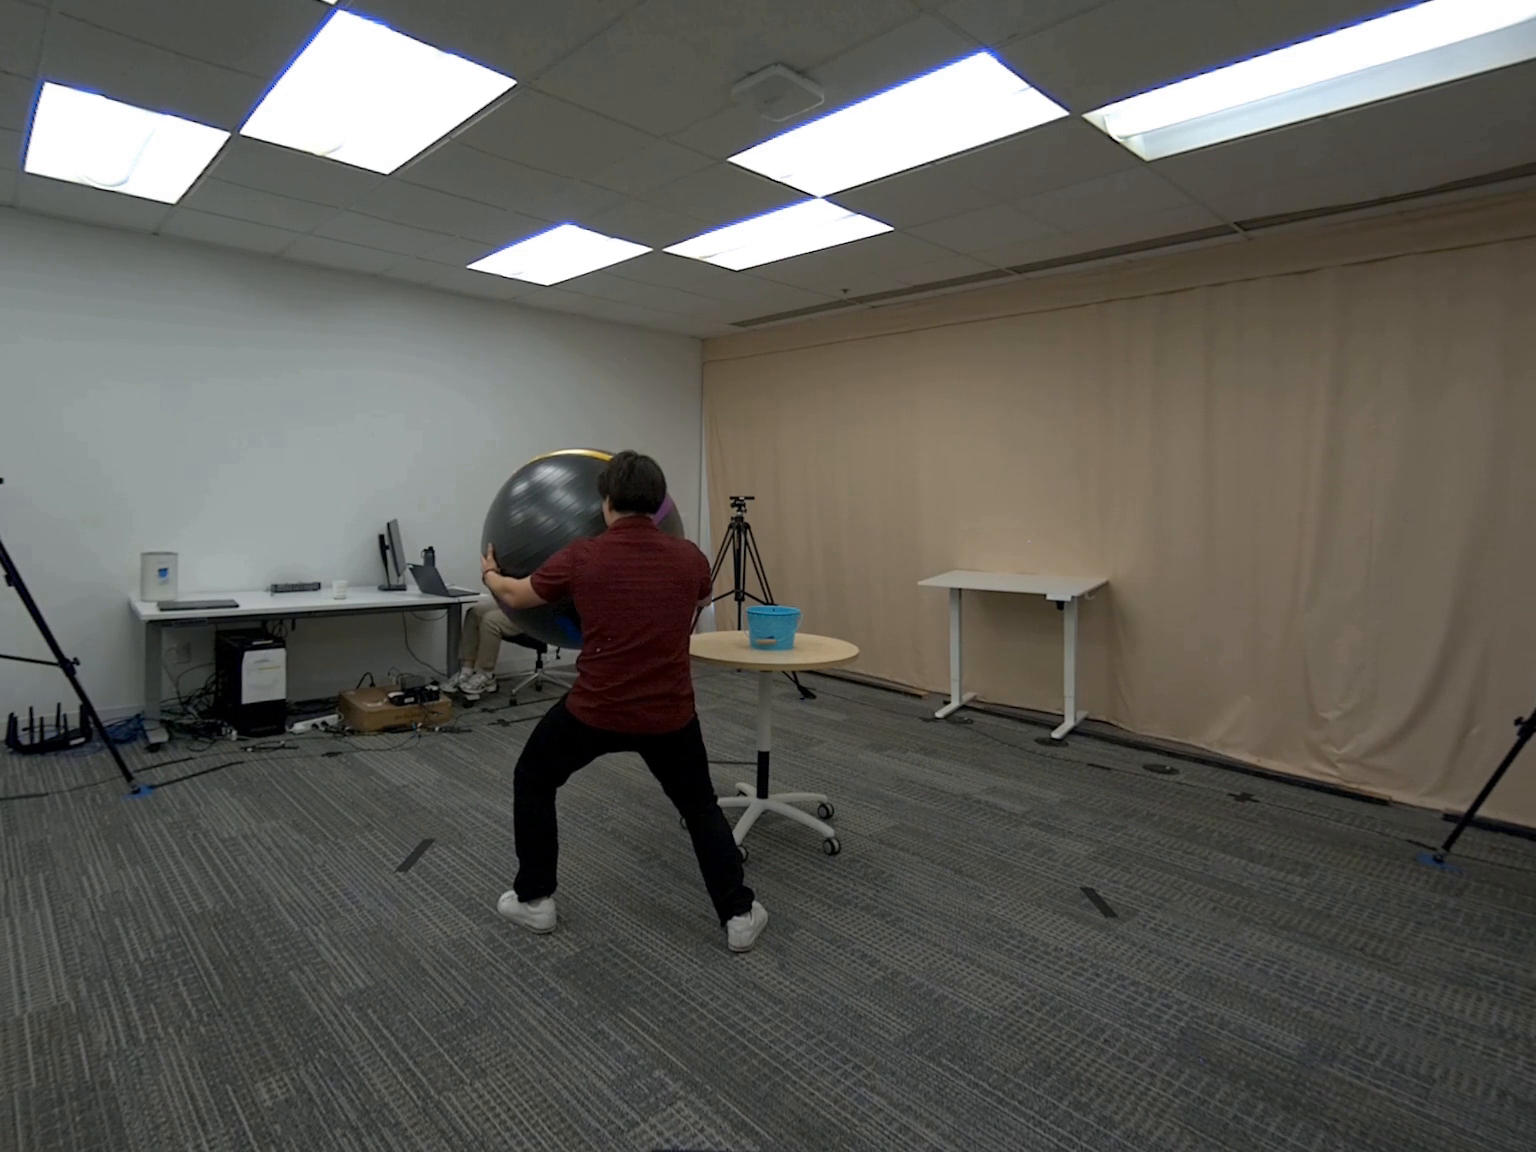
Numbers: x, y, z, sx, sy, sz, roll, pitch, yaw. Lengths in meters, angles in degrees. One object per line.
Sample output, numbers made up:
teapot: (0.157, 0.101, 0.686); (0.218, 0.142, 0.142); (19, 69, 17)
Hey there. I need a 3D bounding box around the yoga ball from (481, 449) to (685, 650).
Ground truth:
yoga ball: (-0.717, -0.102, 3.190); (0.757, 0.756, 0.761); (1, 4, -1)
